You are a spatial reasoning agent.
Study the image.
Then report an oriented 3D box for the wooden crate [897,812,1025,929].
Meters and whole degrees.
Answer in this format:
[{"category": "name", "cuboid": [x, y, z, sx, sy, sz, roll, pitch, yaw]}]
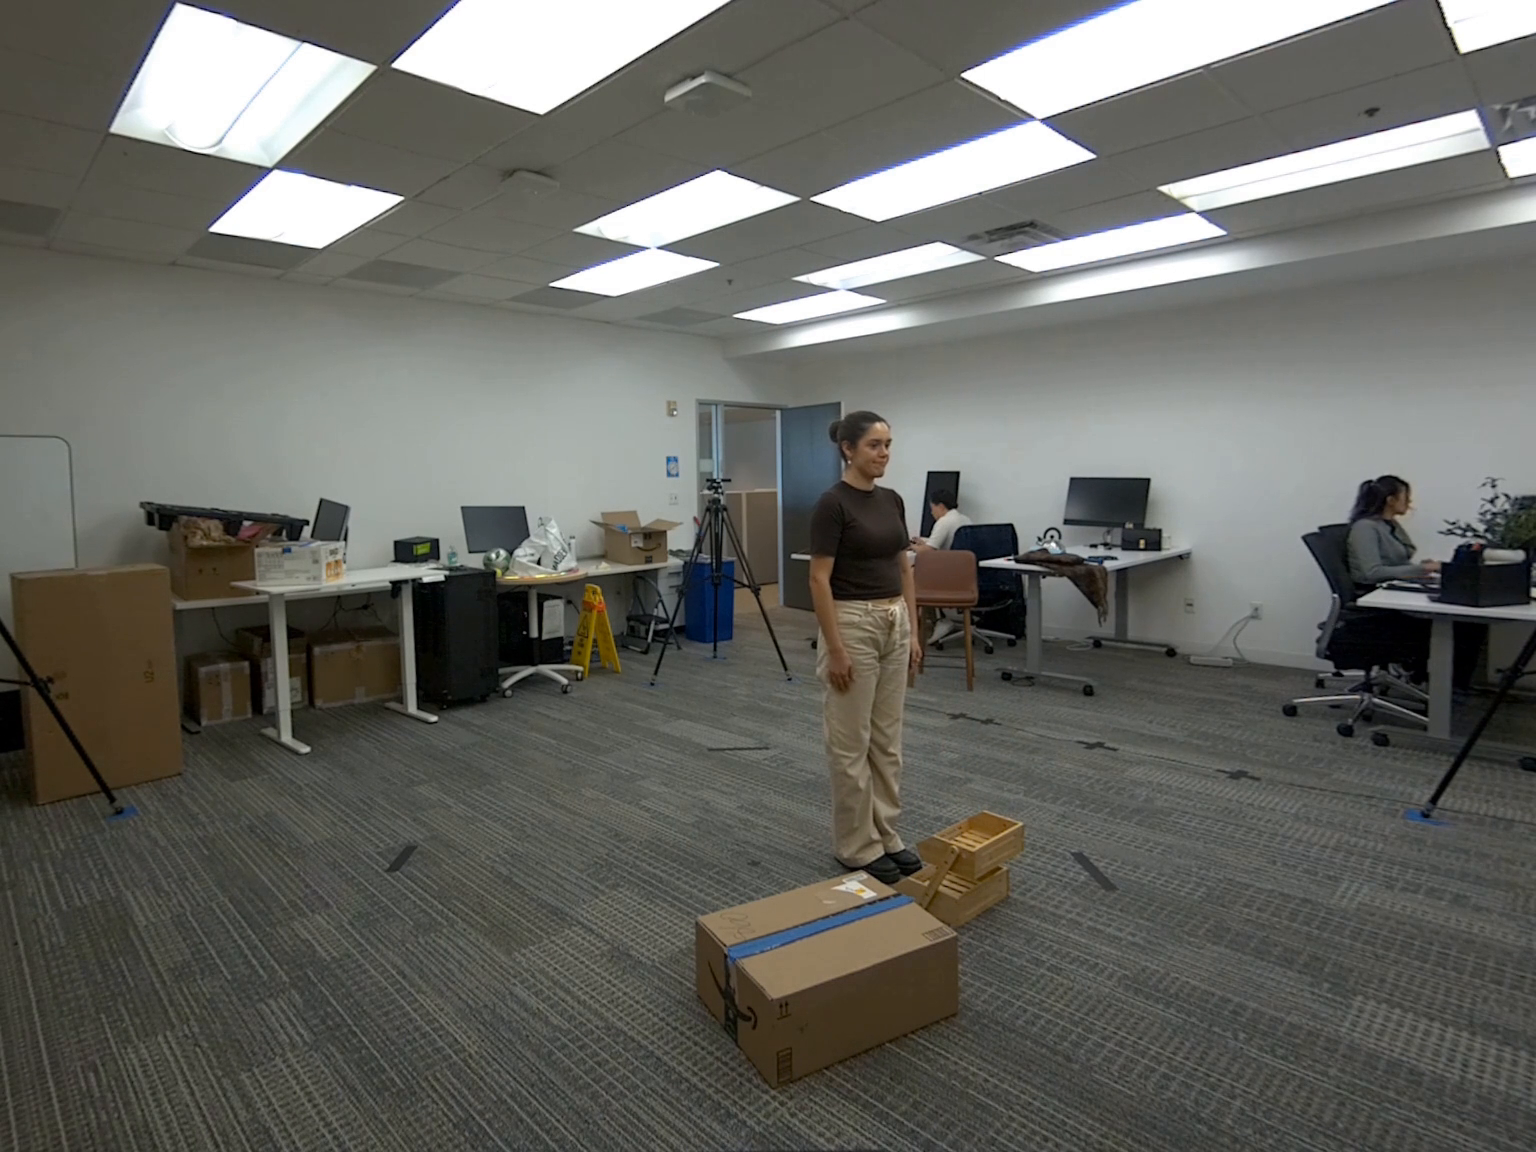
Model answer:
[{"category": "wooden crate", "cuboid": [0.626, 0.929, 2.804, 0.316, 0.272, 0.311, -5, 7, -43]}]
